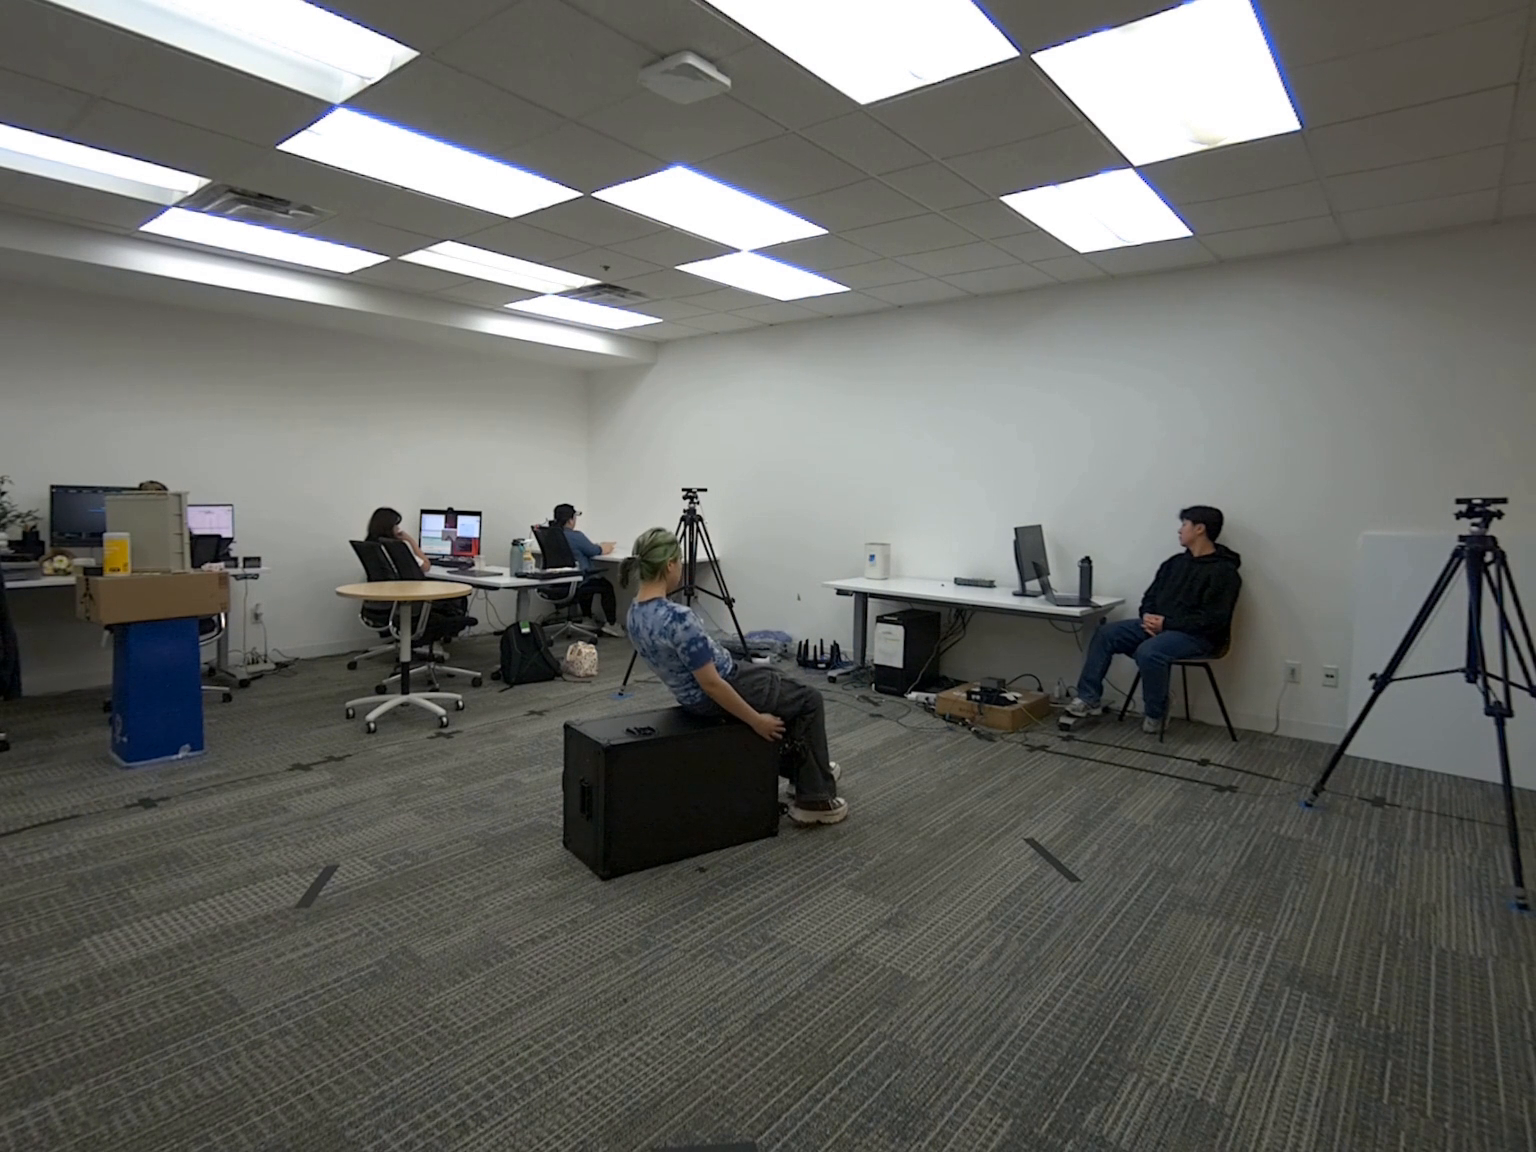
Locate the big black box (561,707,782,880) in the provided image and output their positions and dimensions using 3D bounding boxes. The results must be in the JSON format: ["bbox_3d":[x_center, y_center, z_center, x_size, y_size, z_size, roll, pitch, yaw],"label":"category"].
[{"bbox_3d":[-0.367,0.802,3.368,0.837,0.520,0.409,-1,5,-34],"label":"big black box"}]
